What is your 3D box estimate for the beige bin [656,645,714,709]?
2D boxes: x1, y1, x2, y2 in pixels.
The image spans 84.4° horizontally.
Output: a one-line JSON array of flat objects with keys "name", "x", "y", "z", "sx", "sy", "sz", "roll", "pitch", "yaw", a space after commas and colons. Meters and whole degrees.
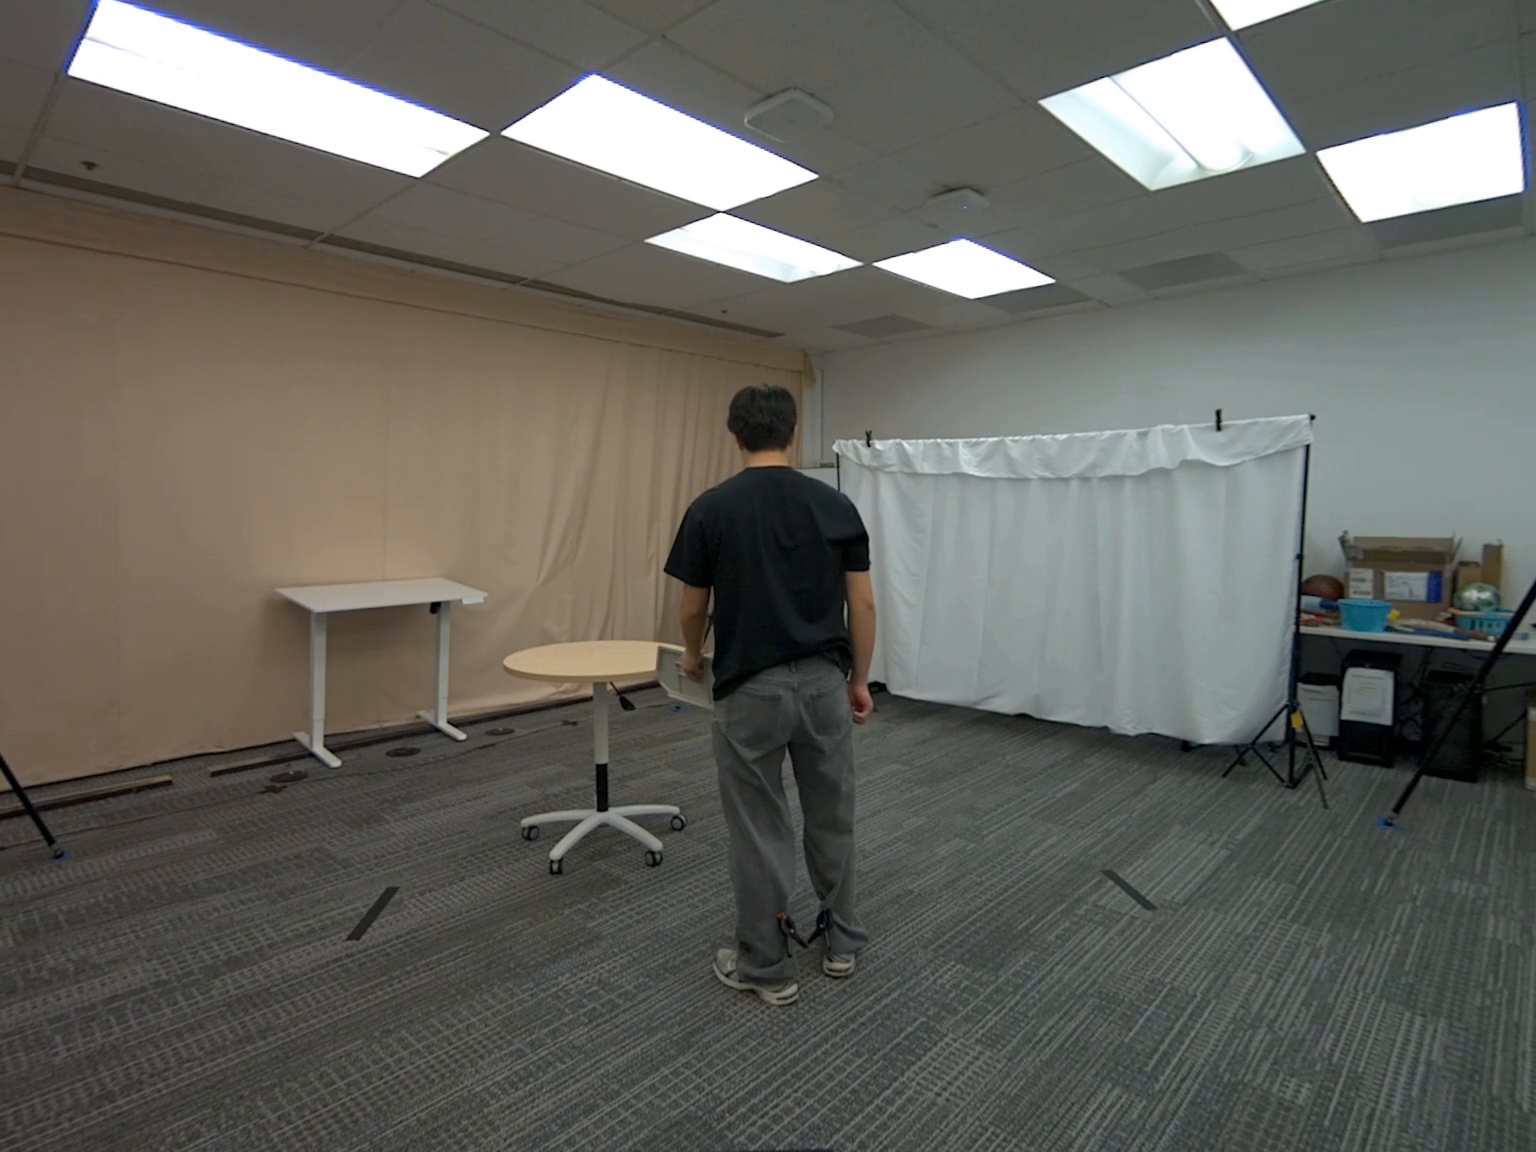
[{"name": "beige bin", "x": -0.105, "y": 0.297, "z": 2.884, "sx": 0.411, "sy": 0.188, "sz": 0.390, "roll": -13, "pitch": 12, "yaw": -39}]
